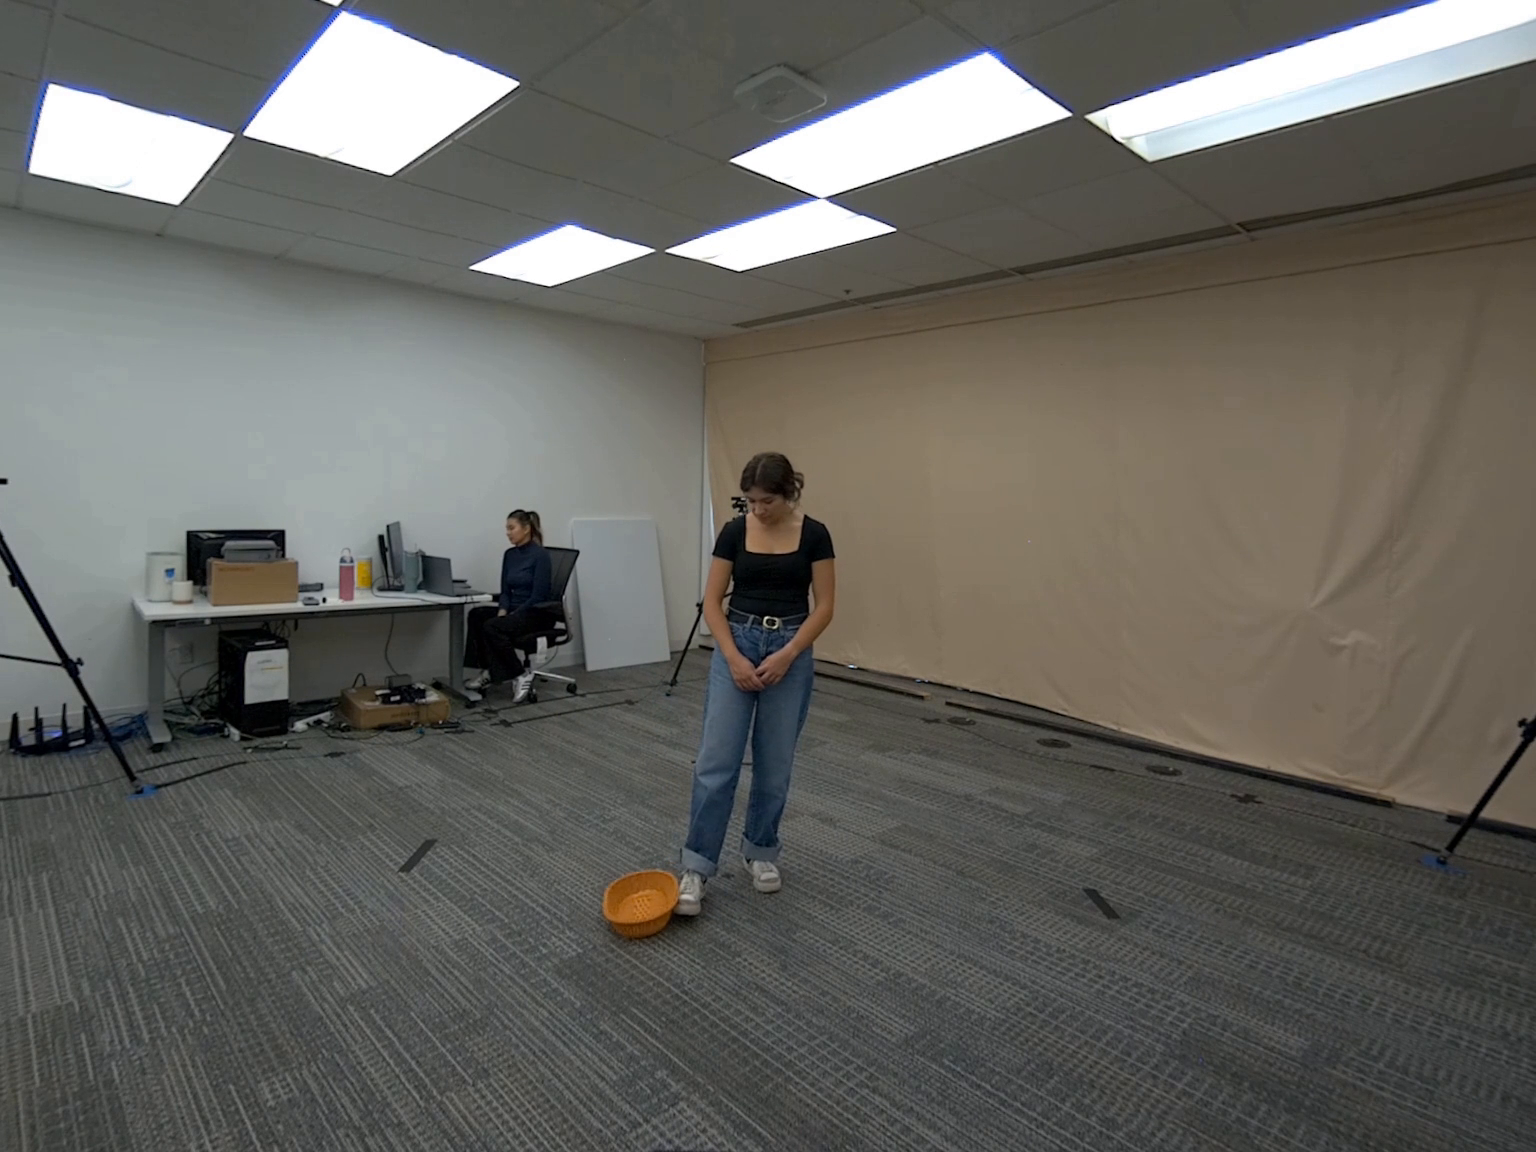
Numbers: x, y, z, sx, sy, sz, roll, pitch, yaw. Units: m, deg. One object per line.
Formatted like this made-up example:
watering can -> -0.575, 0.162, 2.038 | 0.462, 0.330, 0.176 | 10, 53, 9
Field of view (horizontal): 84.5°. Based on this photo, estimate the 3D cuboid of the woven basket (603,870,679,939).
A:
woven basket -> -0.425, 1.084, 2.768 | 0.251, 0.073, 0.353 | -8, 7, -6
